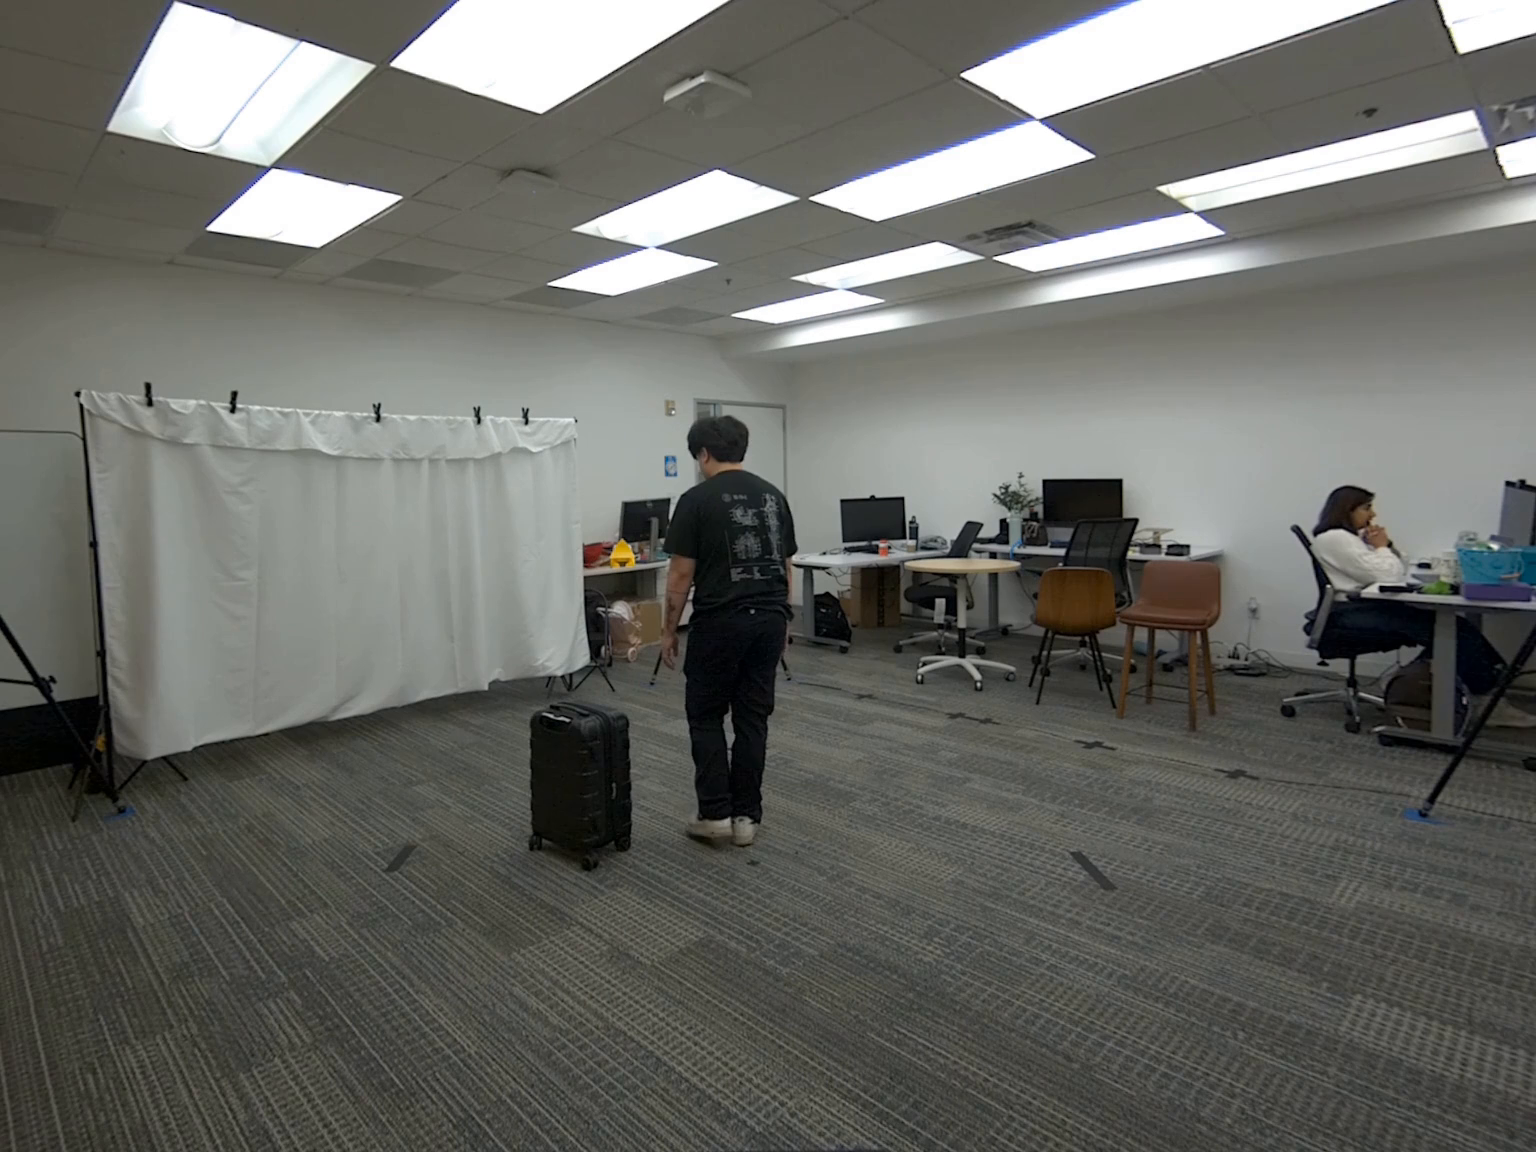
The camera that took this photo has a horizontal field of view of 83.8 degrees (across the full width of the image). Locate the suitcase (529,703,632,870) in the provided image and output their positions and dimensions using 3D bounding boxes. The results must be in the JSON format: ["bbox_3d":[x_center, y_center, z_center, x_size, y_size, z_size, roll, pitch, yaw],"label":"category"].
[{"bbox_3d":[-0.716,0.762,3.249,0.386,0.548,0.242,1,3,39],"label":"suitcase"}]
